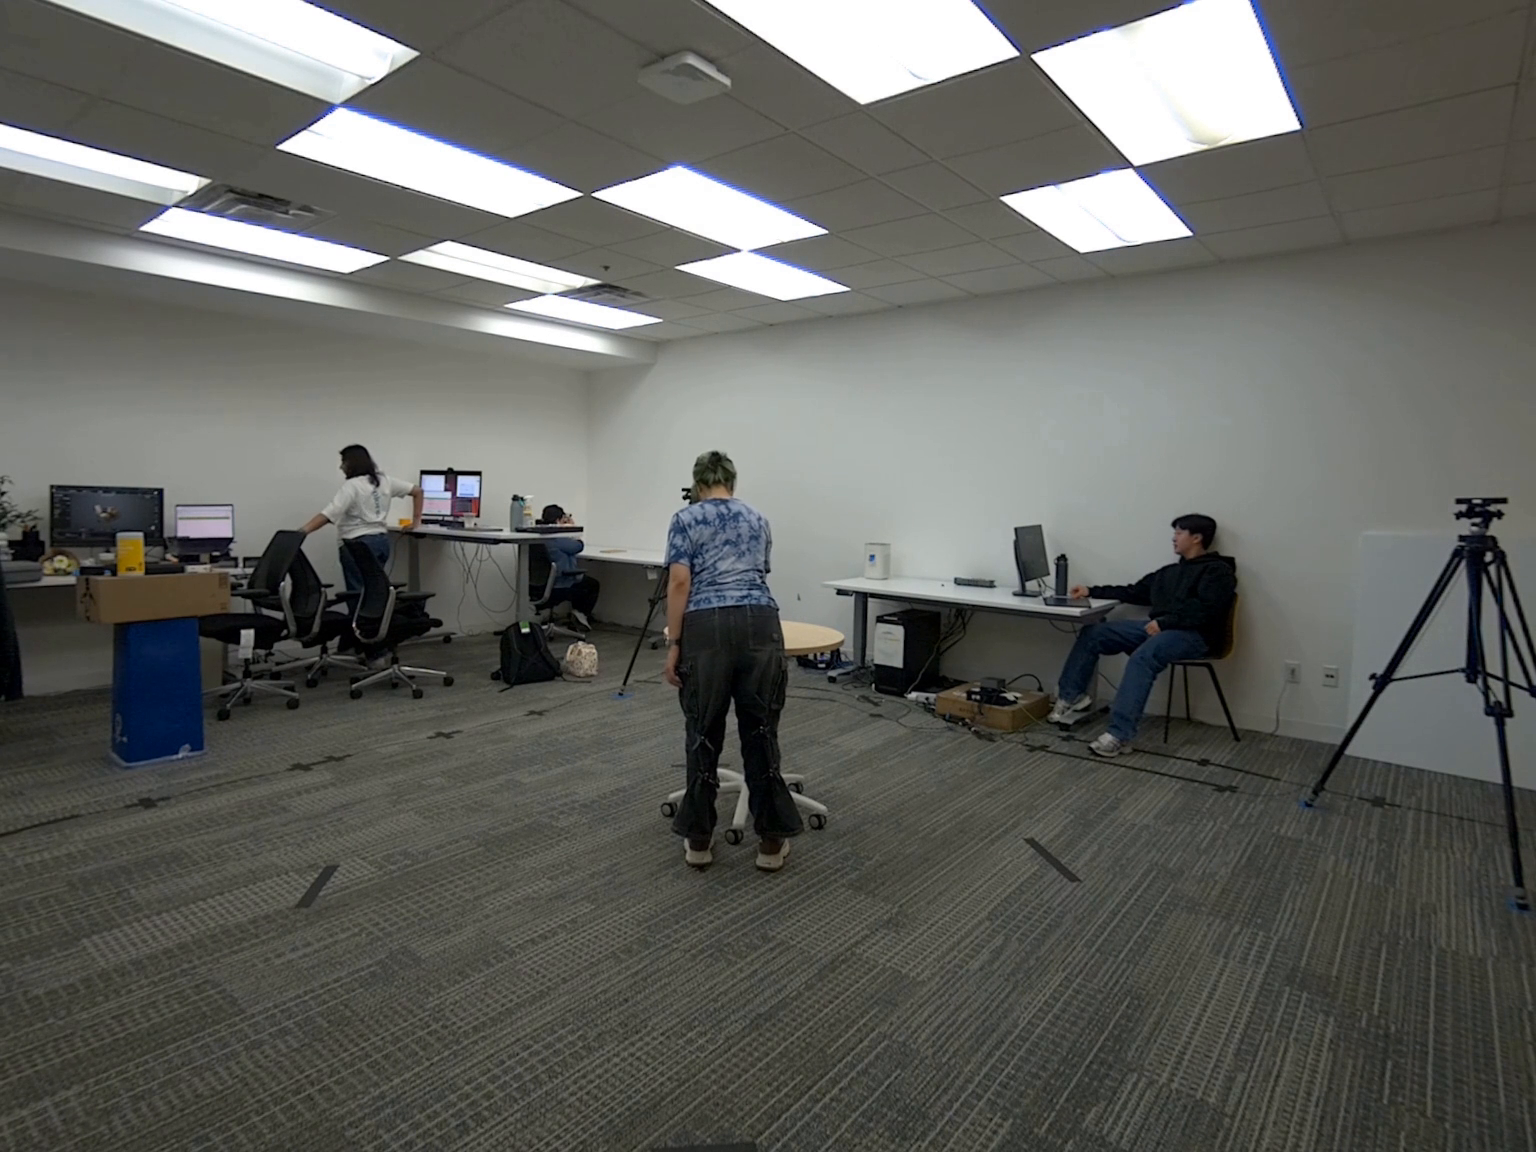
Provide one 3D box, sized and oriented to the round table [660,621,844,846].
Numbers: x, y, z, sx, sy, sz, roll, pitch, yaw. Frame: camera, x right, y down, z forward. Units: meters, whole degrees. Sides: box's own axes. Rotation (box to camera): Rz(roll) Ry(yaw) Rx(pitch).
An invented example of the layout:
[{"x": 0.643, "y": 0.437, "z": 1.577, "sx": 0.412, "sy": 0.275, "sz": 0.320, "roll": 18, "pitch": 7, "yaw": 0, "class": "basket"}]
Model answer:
[{"x": -0.069, "y": 0.626, "z": 3.628, "sx": 0.784, "sy": 0.784, "sz": 0.789, "roll": 1, "pitch": 4, "yaw": -2, "class": "round table"}]
